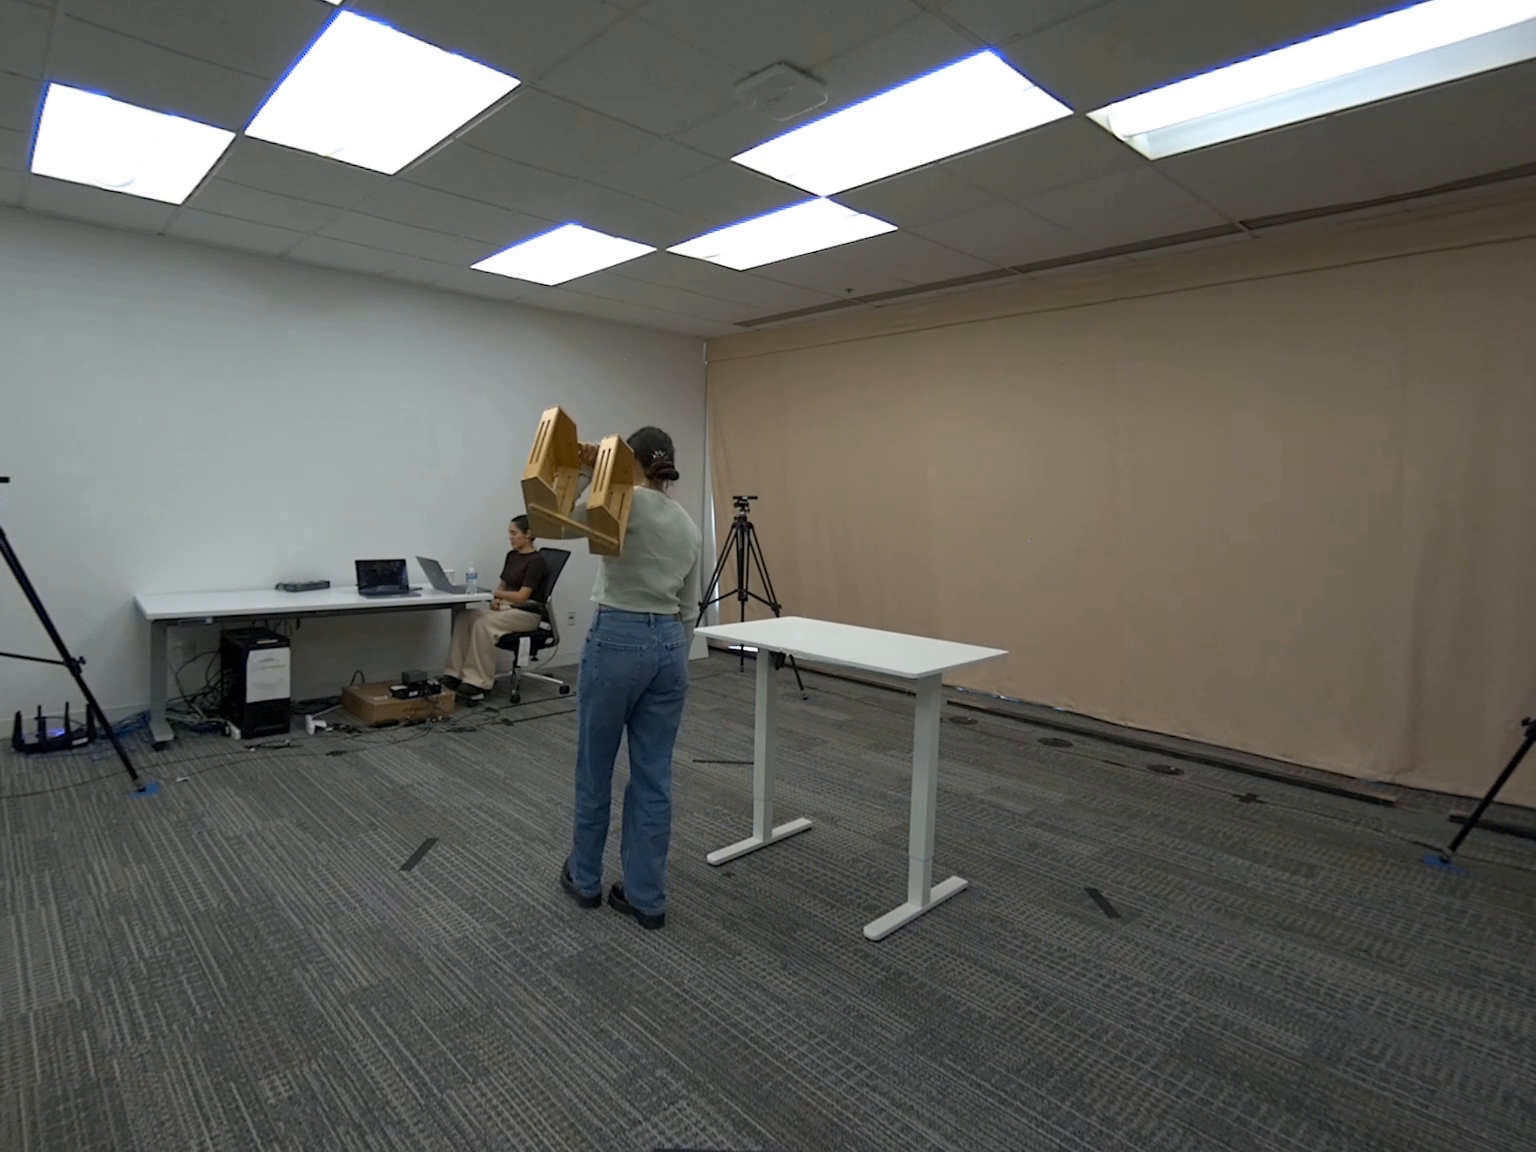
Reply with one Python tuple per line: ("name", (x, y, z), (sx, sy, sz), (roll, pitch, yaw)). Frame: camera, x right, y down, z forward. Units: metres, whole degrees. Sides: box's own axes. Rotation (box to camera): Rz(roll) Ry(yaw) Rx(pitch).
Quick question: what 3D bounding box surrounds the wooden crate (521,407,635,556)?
("wooden crate", (-0.550, -0.278, 2.451), (0.273, 0.331, 0.296), (6, -40, -2))
